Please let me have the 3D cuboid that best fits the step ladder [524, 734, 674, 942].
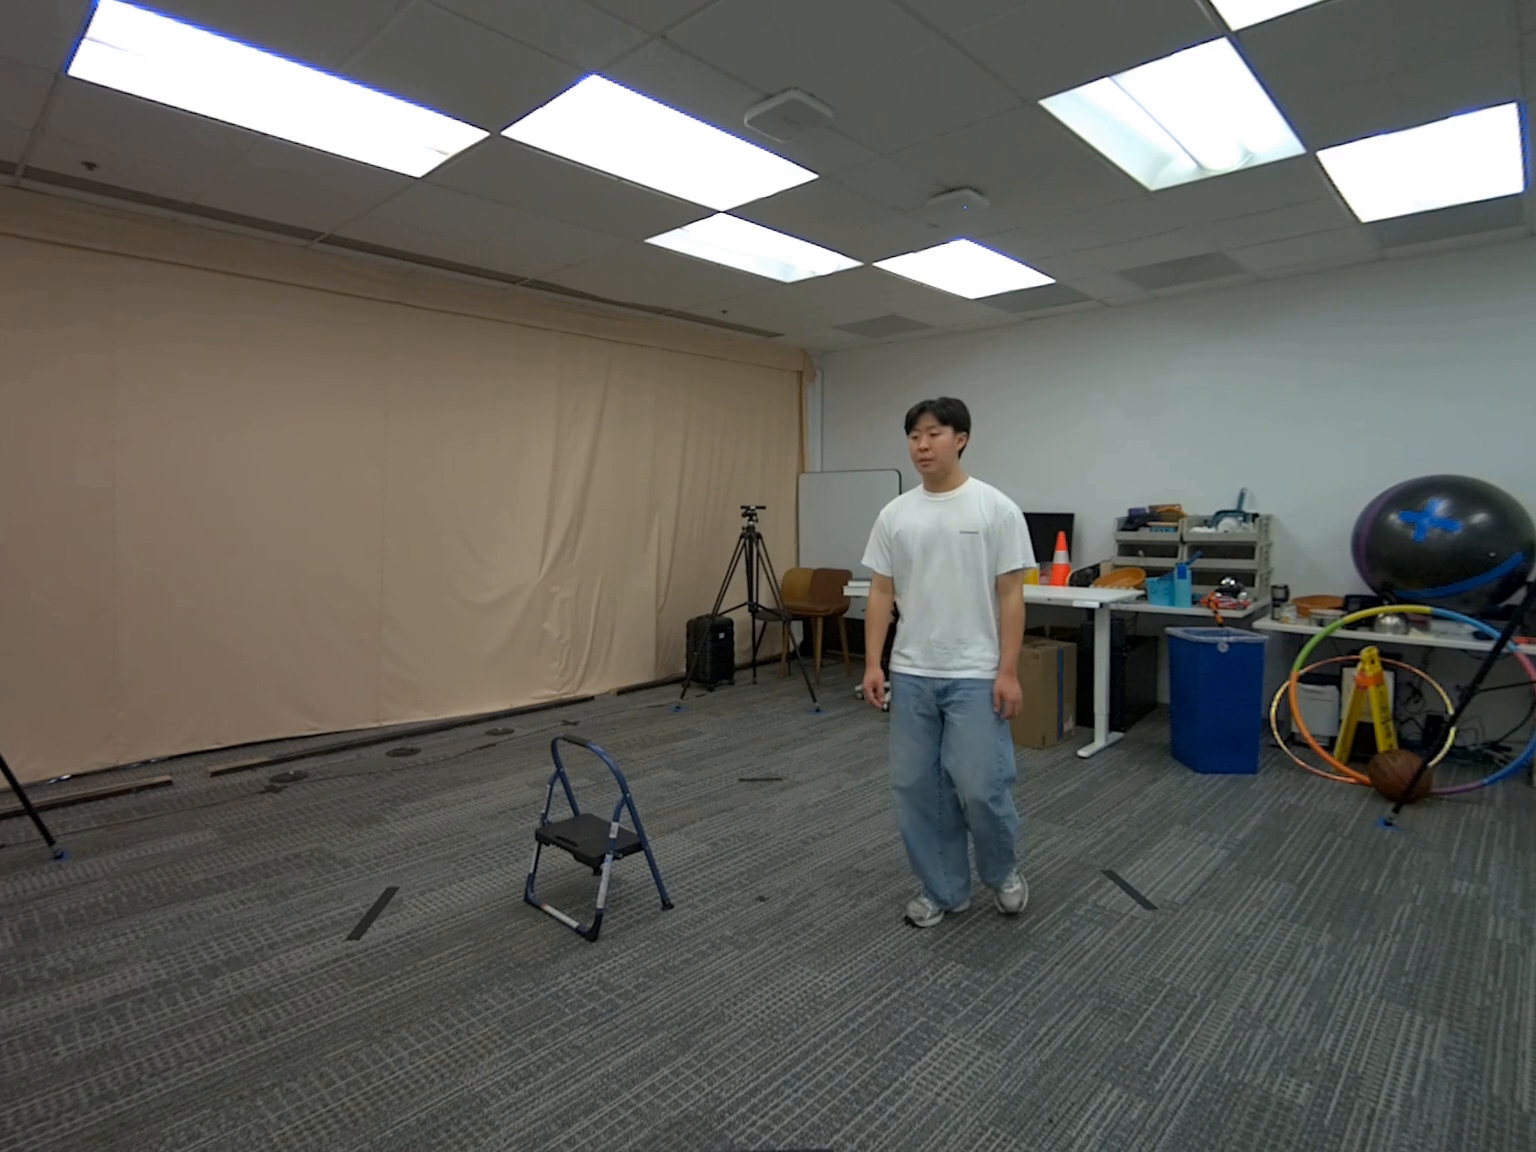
[{"bbox_3d":[-0.603,0.851,2.939,0.445,0.605,0.338,2,4,43],"label":"step ladder"}]
